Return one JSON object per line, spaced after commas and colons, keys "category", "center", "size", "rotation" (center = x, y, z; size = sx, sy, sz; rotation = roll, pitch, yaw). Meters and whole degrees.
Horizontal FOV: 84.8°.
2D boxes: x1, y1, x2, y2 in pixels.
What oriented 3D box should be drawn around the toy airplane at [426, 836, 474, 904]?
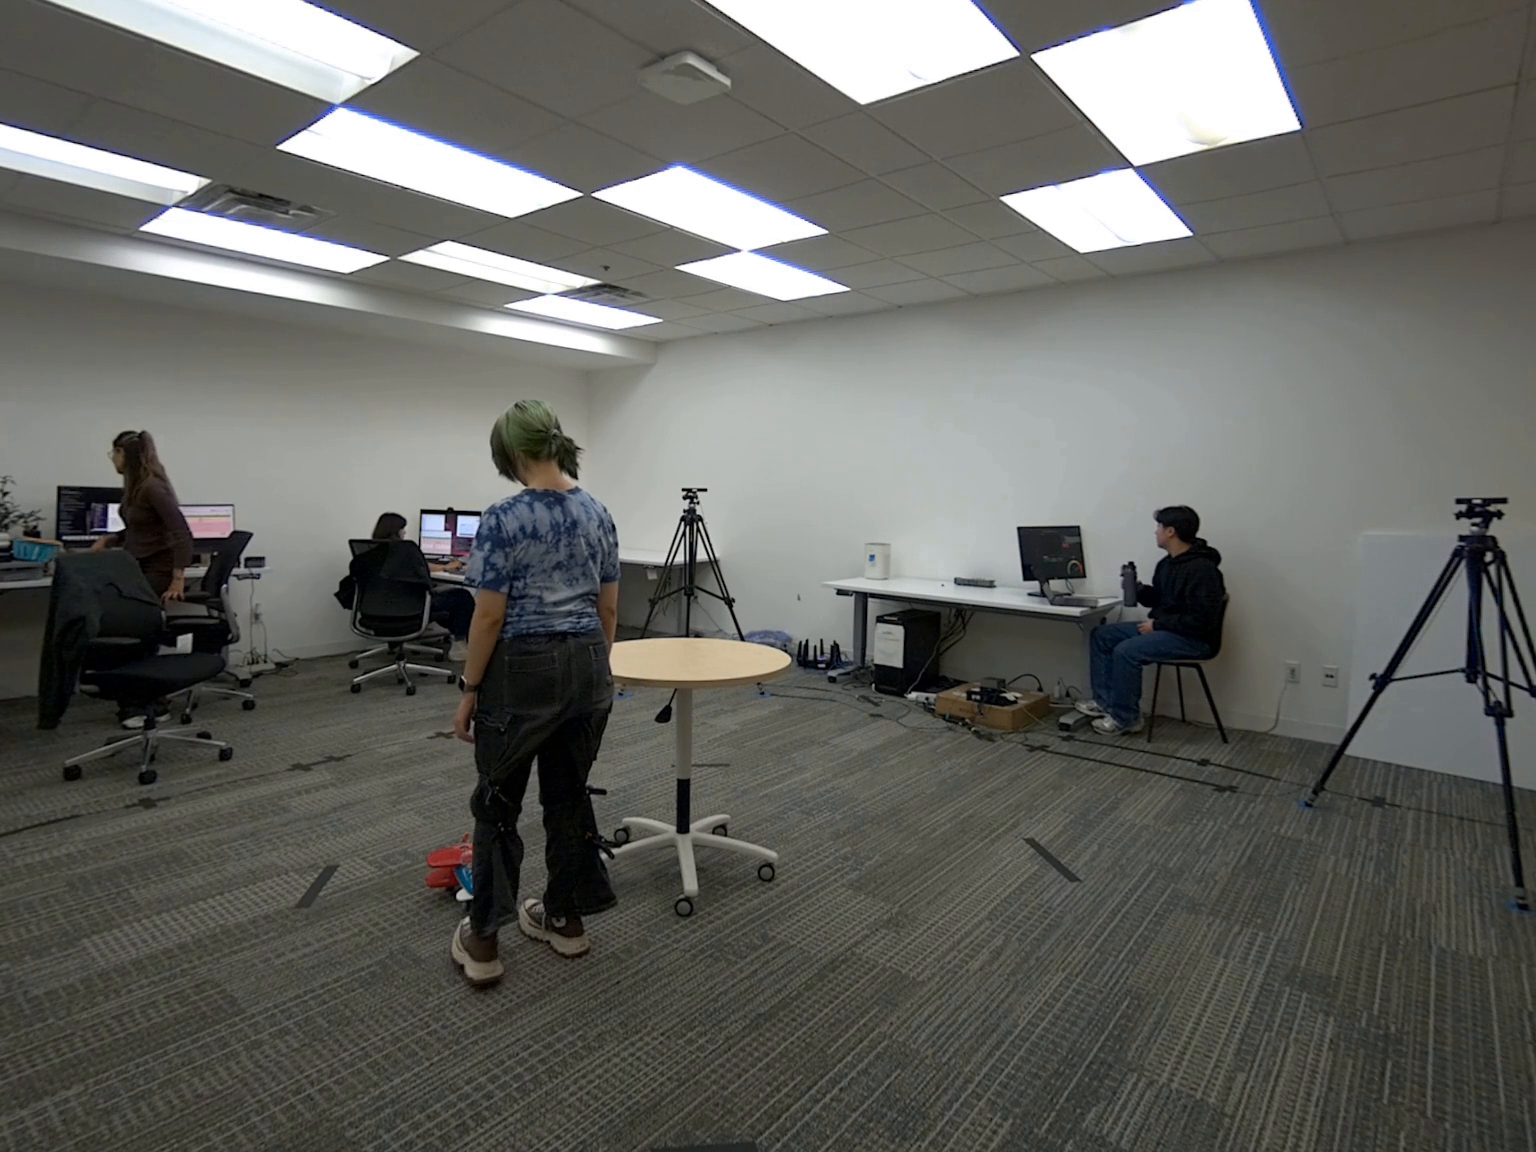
{"category": "toy airplane", "center": [-1.009, 1.003, 2.879], "size": [0.267, 0.156, 0.245], "rotation": [2, 5, 31]}
